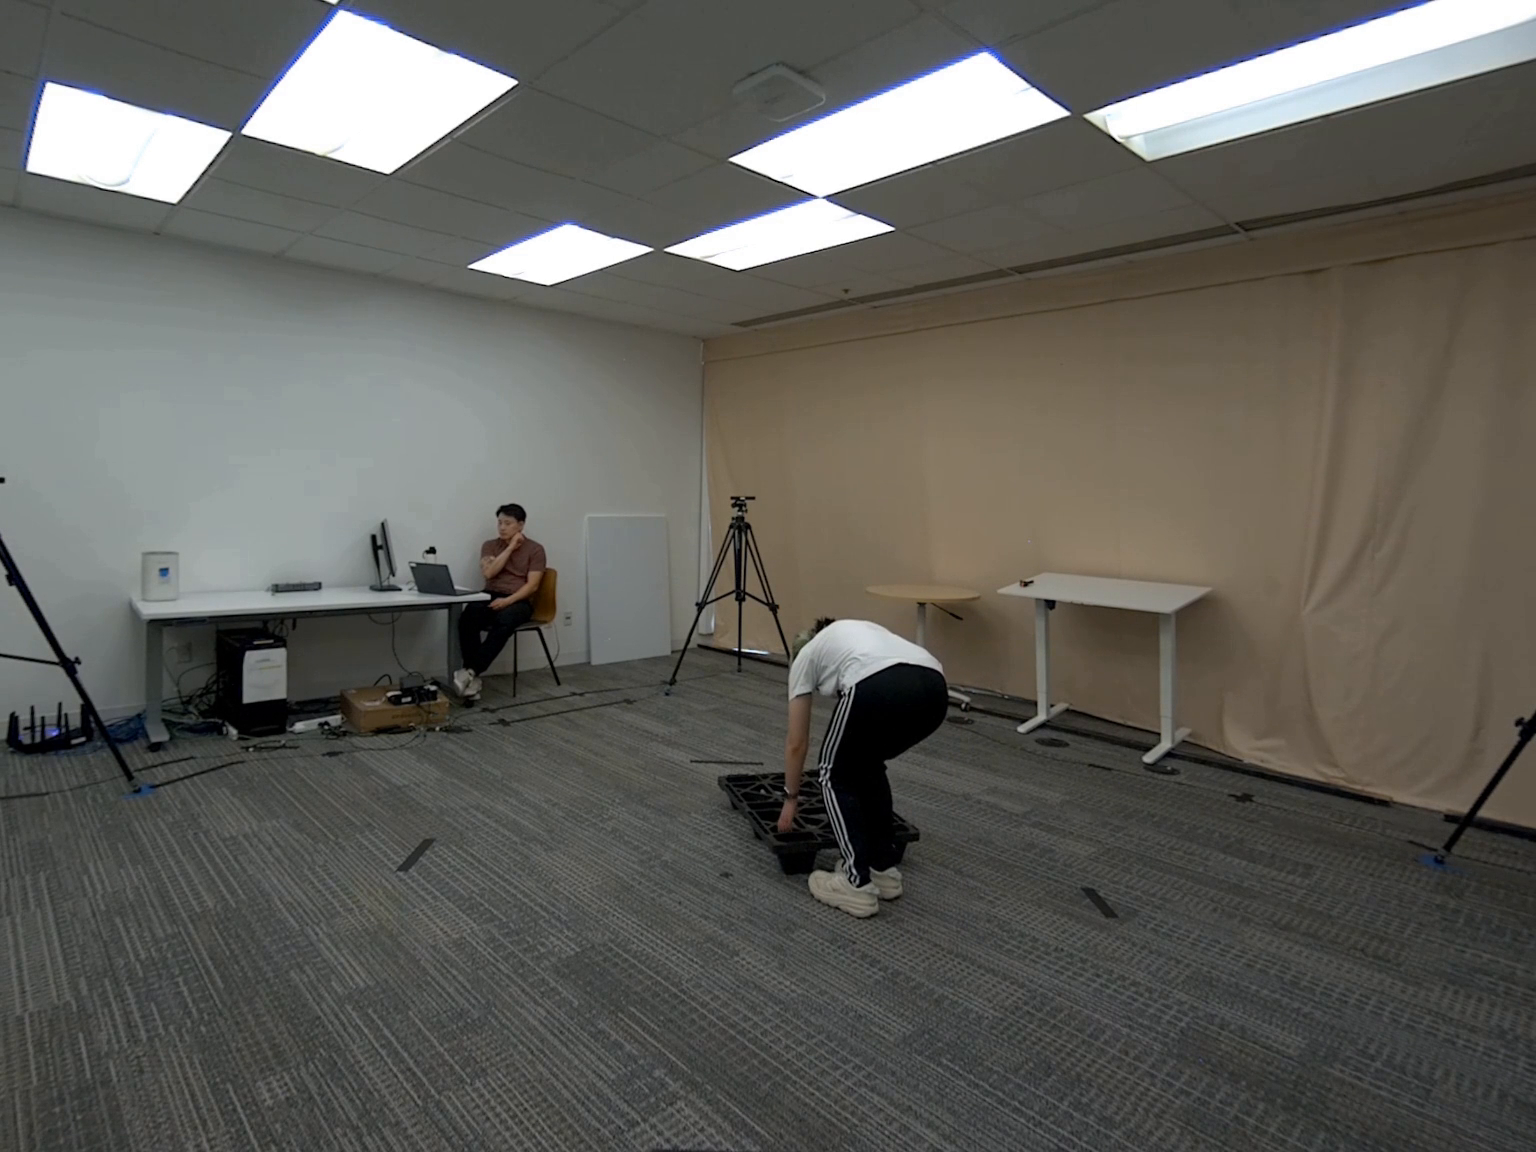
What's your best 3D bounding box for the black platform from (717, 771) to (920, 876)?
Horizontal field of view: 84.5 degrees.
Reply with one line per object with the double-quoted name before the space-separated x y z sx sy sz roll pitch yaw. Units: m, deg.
"black platform" 0.168 1.007 3.526 0.597 0.143 0.818 1 5 -17
